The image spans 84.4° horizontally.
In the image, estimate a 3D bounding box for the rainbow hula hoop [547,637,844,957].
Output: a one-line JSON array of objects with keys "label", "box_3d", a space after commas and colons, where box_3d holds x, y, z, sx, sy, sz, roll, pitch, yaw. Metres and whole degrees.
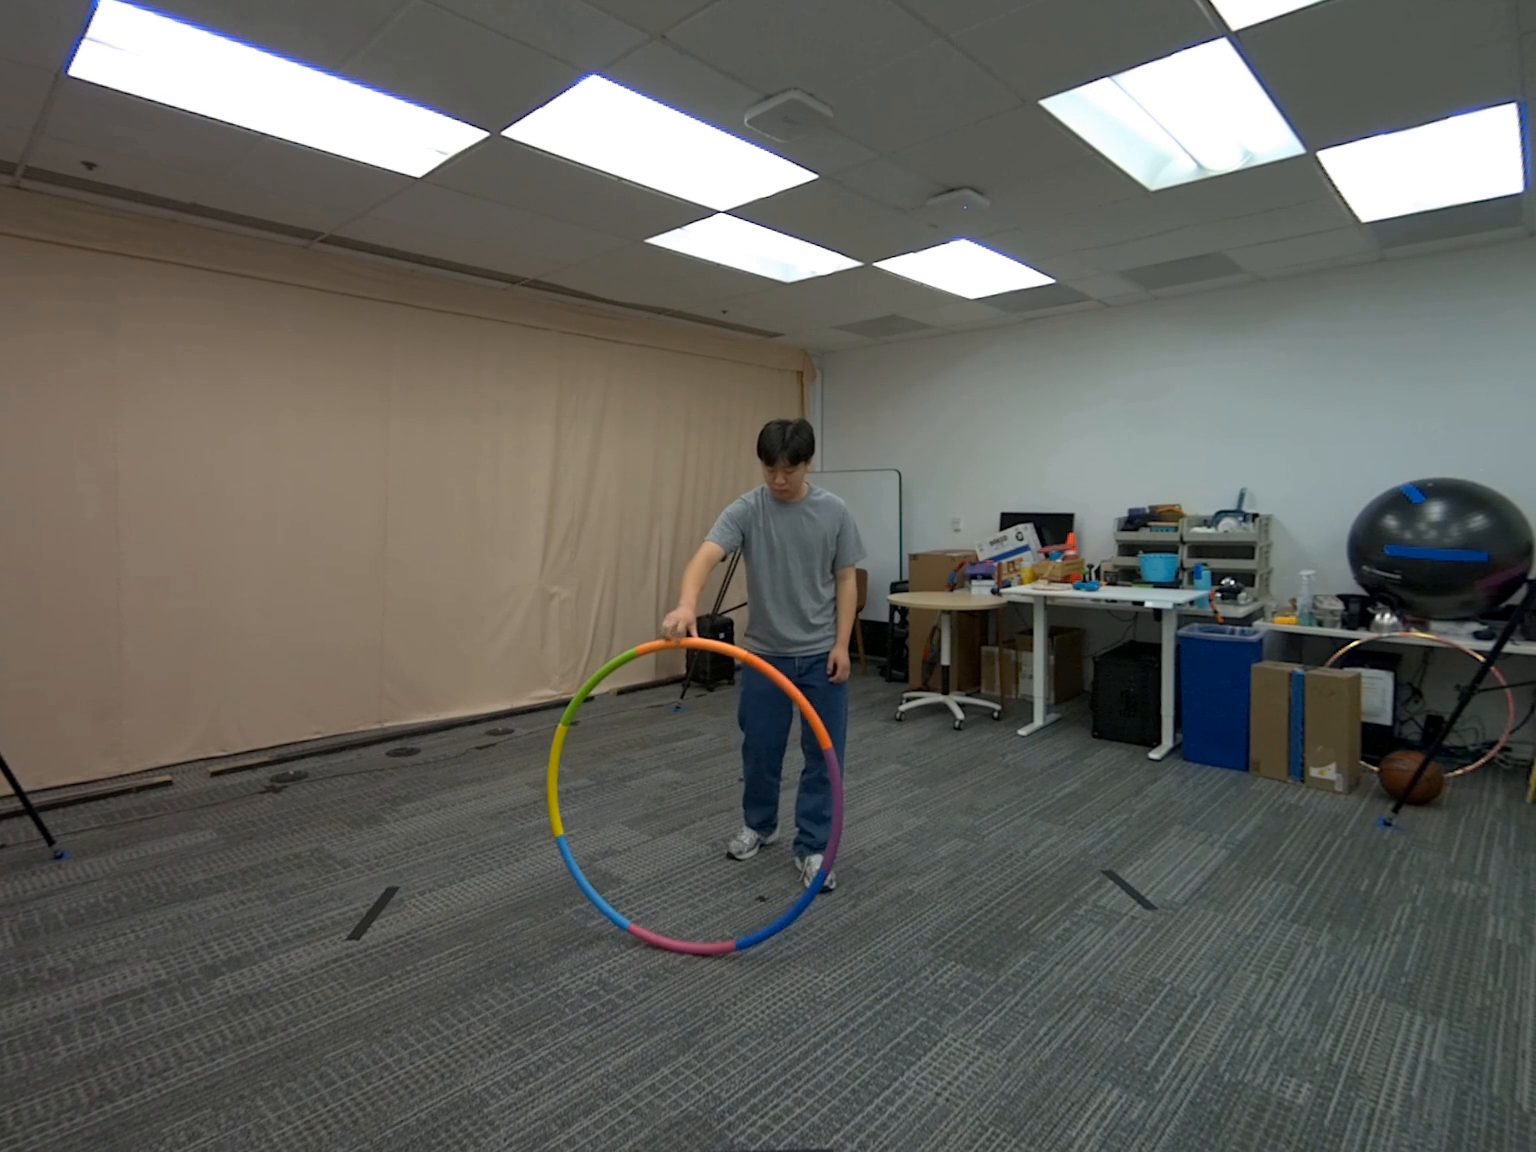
[{"label": "rainbow hula hoop", "box_3d": [-0.257, 0.689, 2.661, 0.997, 0.980, 0.035, 1, -3, 18]}]
